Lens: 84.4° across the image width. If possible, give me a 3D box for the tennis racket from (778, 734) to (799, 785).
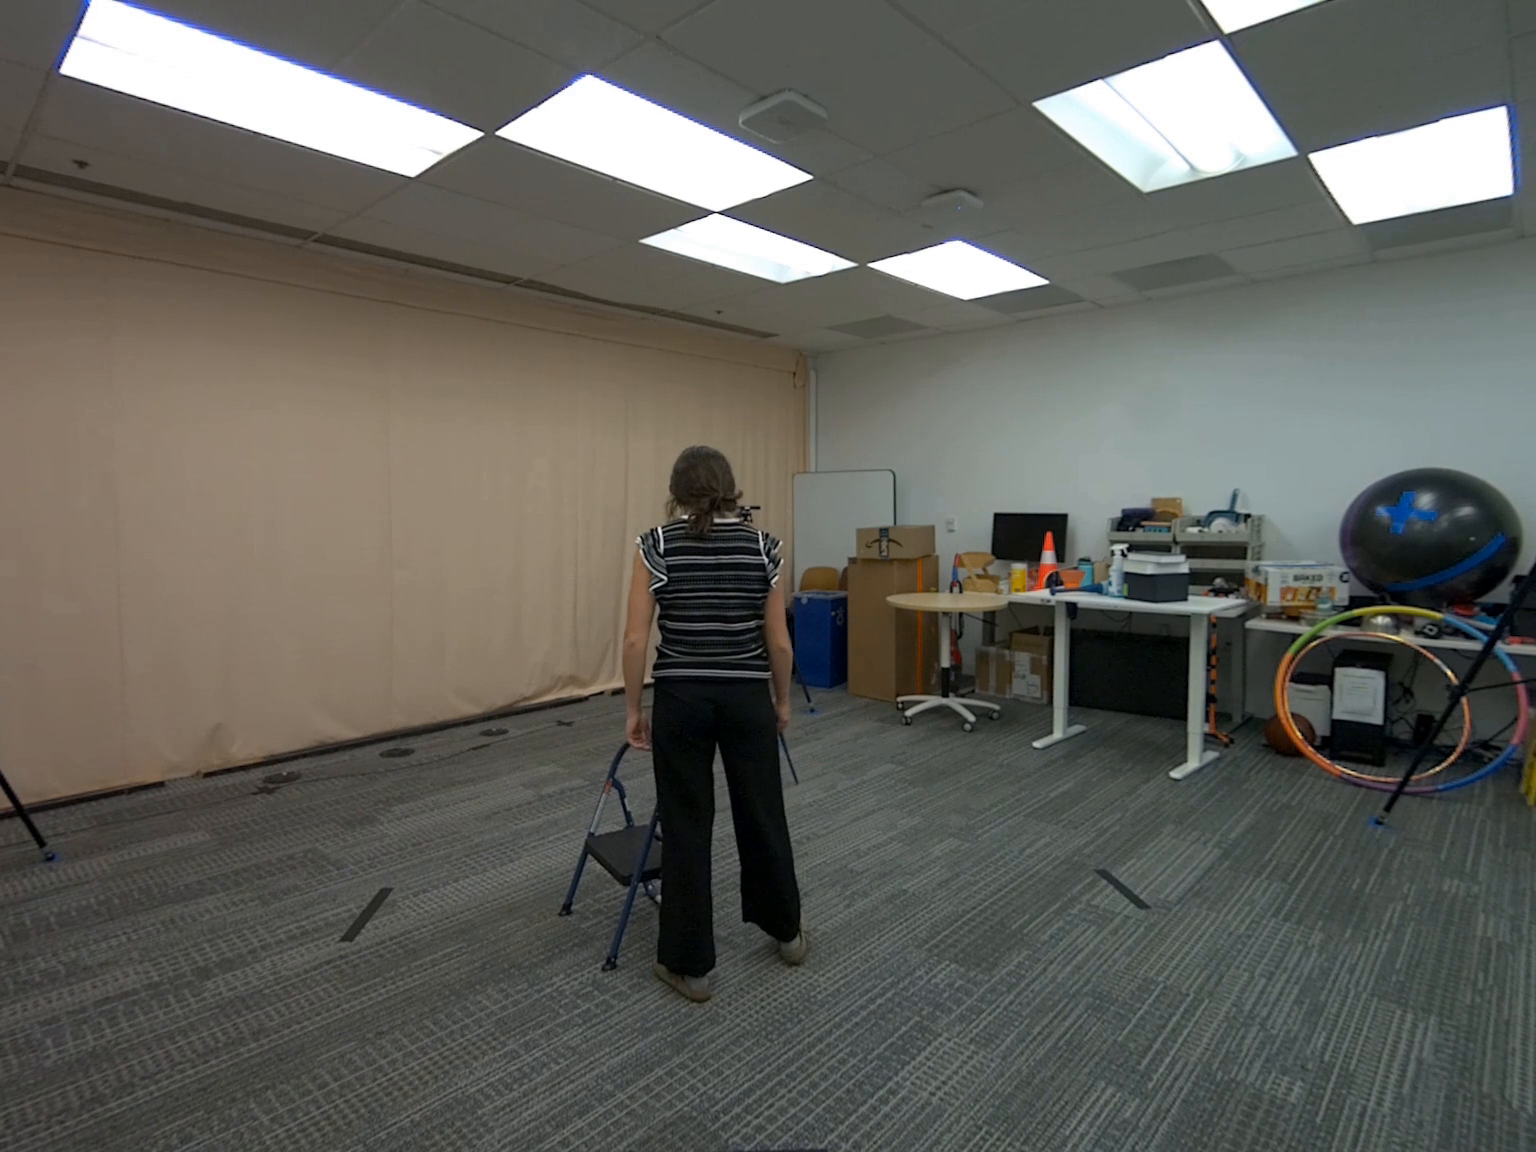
[{"bbox_3d":[0.052,0.550,2.776,0.031,0.220,0.423,-17,-39,-8],"label":"tennis racket"}]
